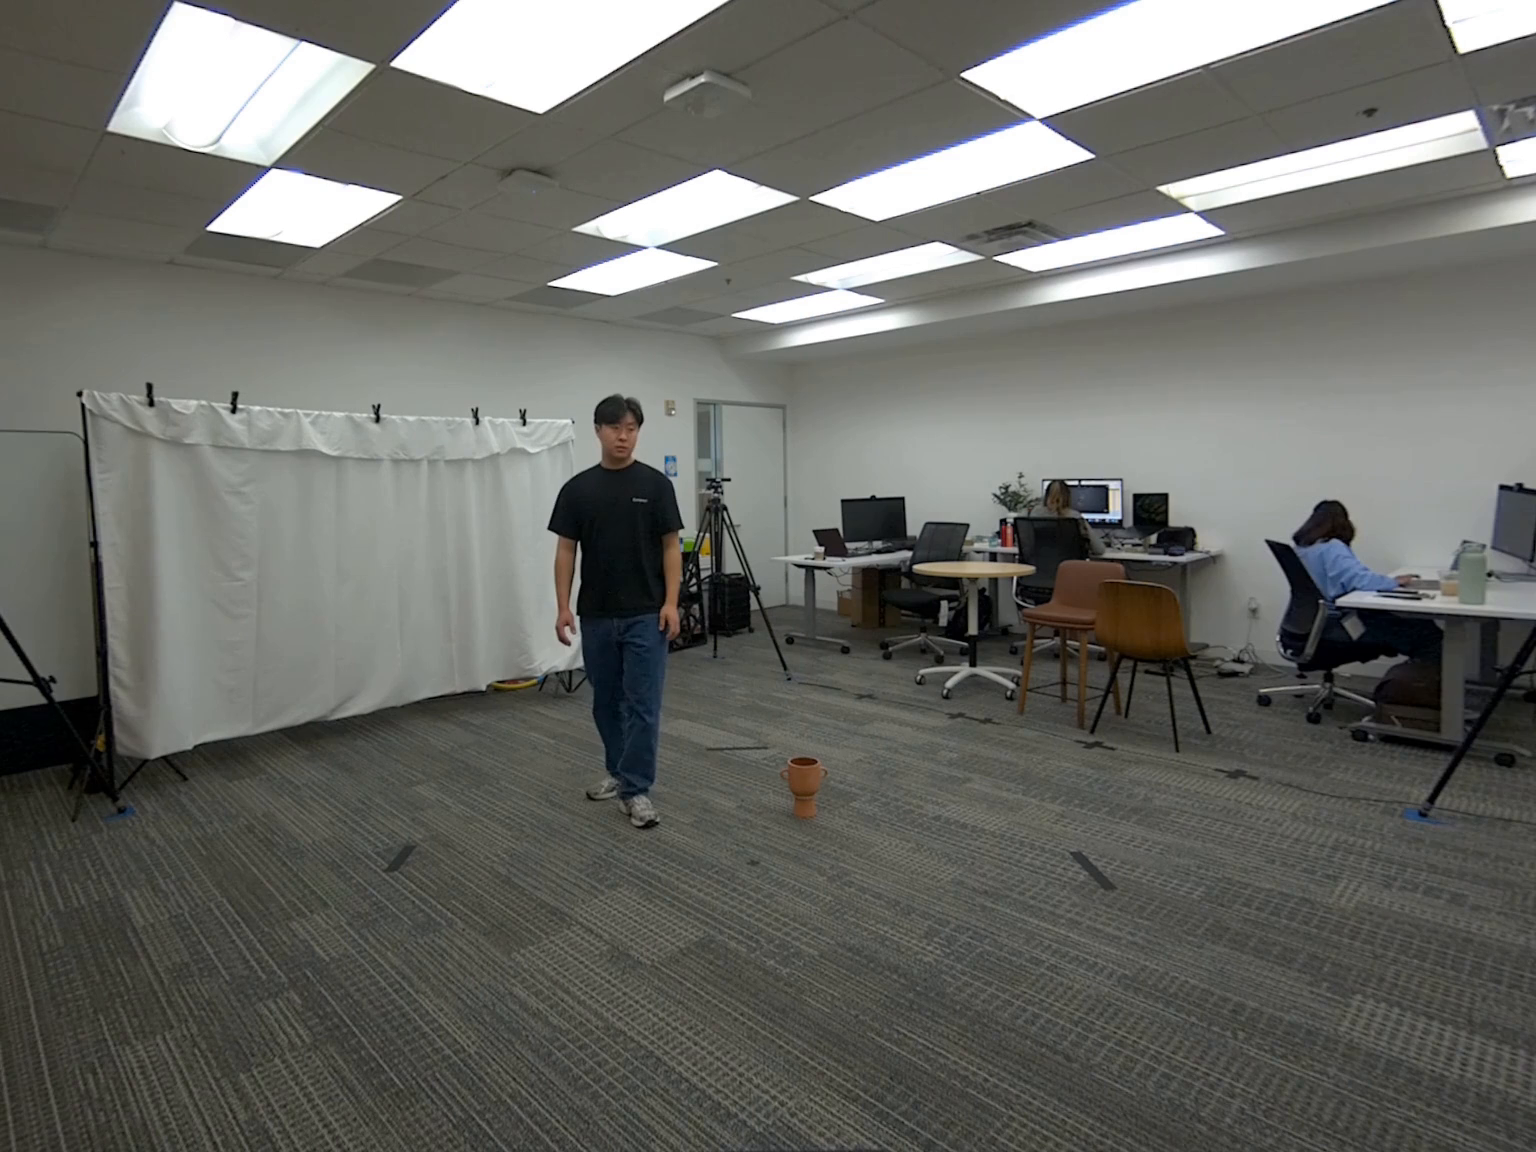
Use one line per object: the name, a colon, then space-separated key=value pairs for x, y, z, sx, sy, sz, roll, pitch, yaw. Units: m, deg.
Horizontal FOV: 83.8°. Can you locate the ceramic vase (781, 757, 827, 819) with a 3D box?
ceramic vase: x=0.156 y=0.876 z=3.545 sx=0.163 sy=0.219 sz=0.131 roll=3 pitch=5 yaw=35
